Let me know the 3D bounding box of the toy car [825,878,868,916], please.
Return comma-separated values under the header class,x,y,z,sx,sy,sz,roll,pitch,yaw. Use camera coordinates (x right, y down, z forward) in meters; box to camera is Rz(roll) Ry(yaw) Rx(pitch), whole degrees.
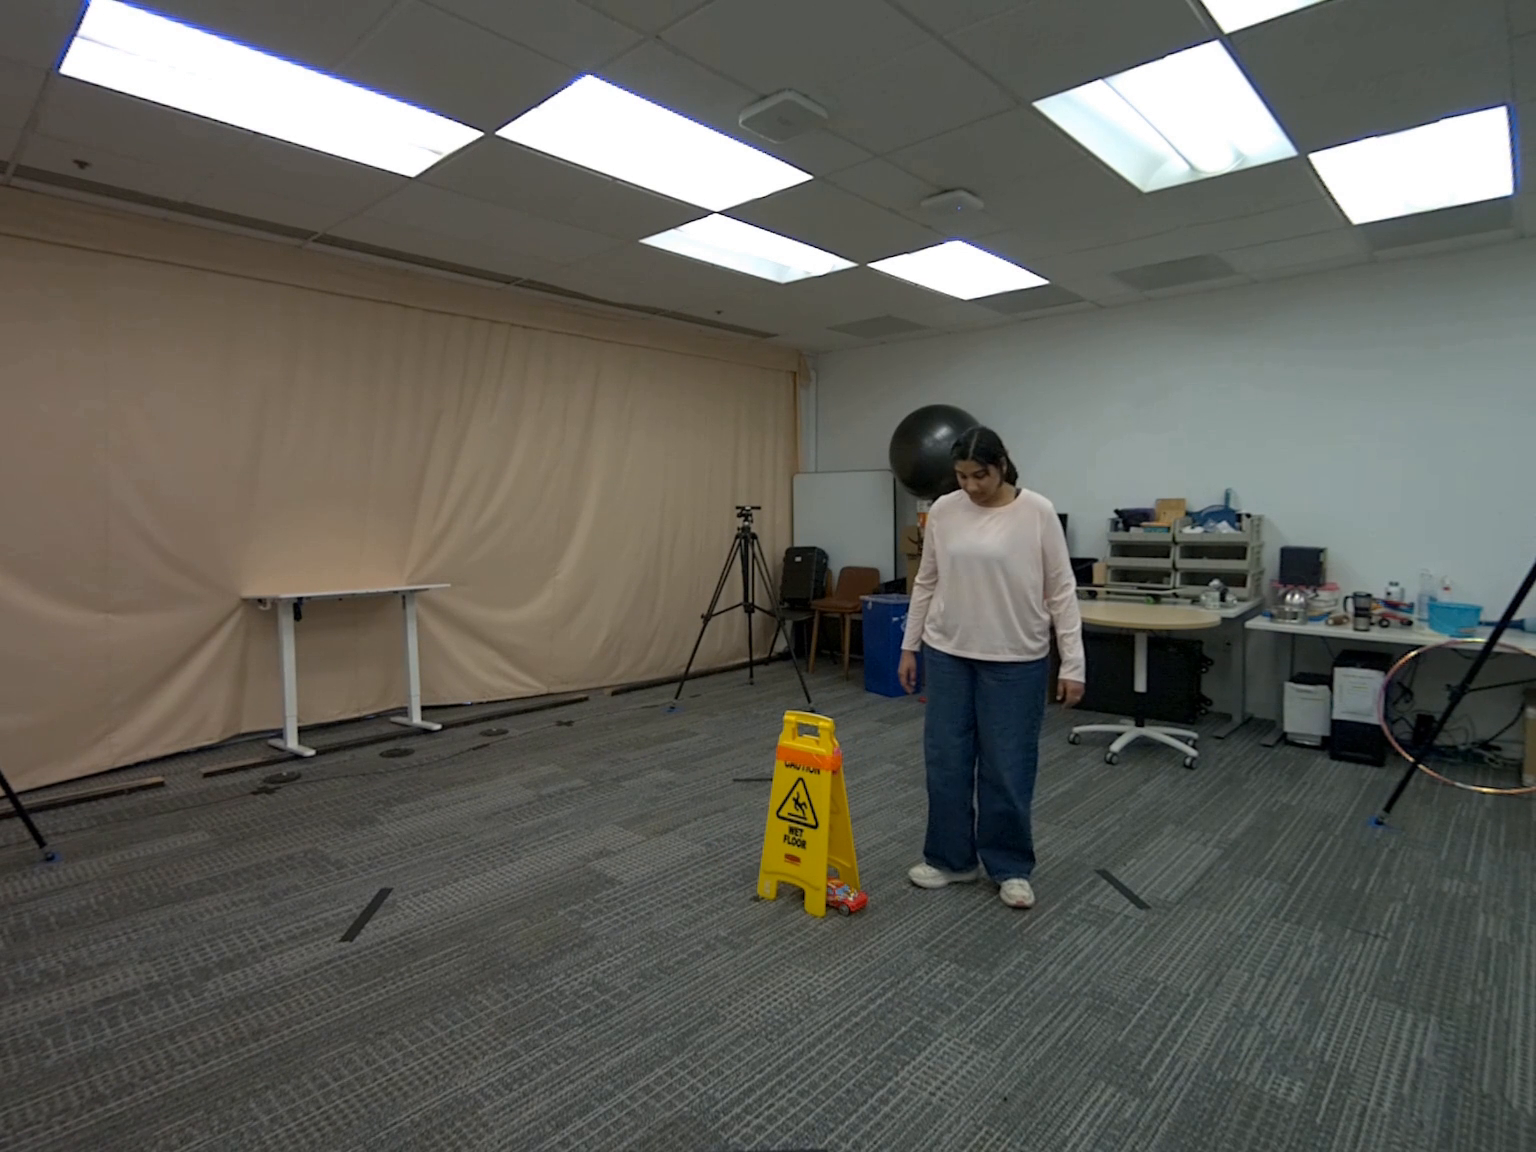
class,x,y,z,sx,sy,sz,roll,pitch,yaw
toy car,0.227,1.117,2.968,0.264,0.083,0.126,15,15,43
